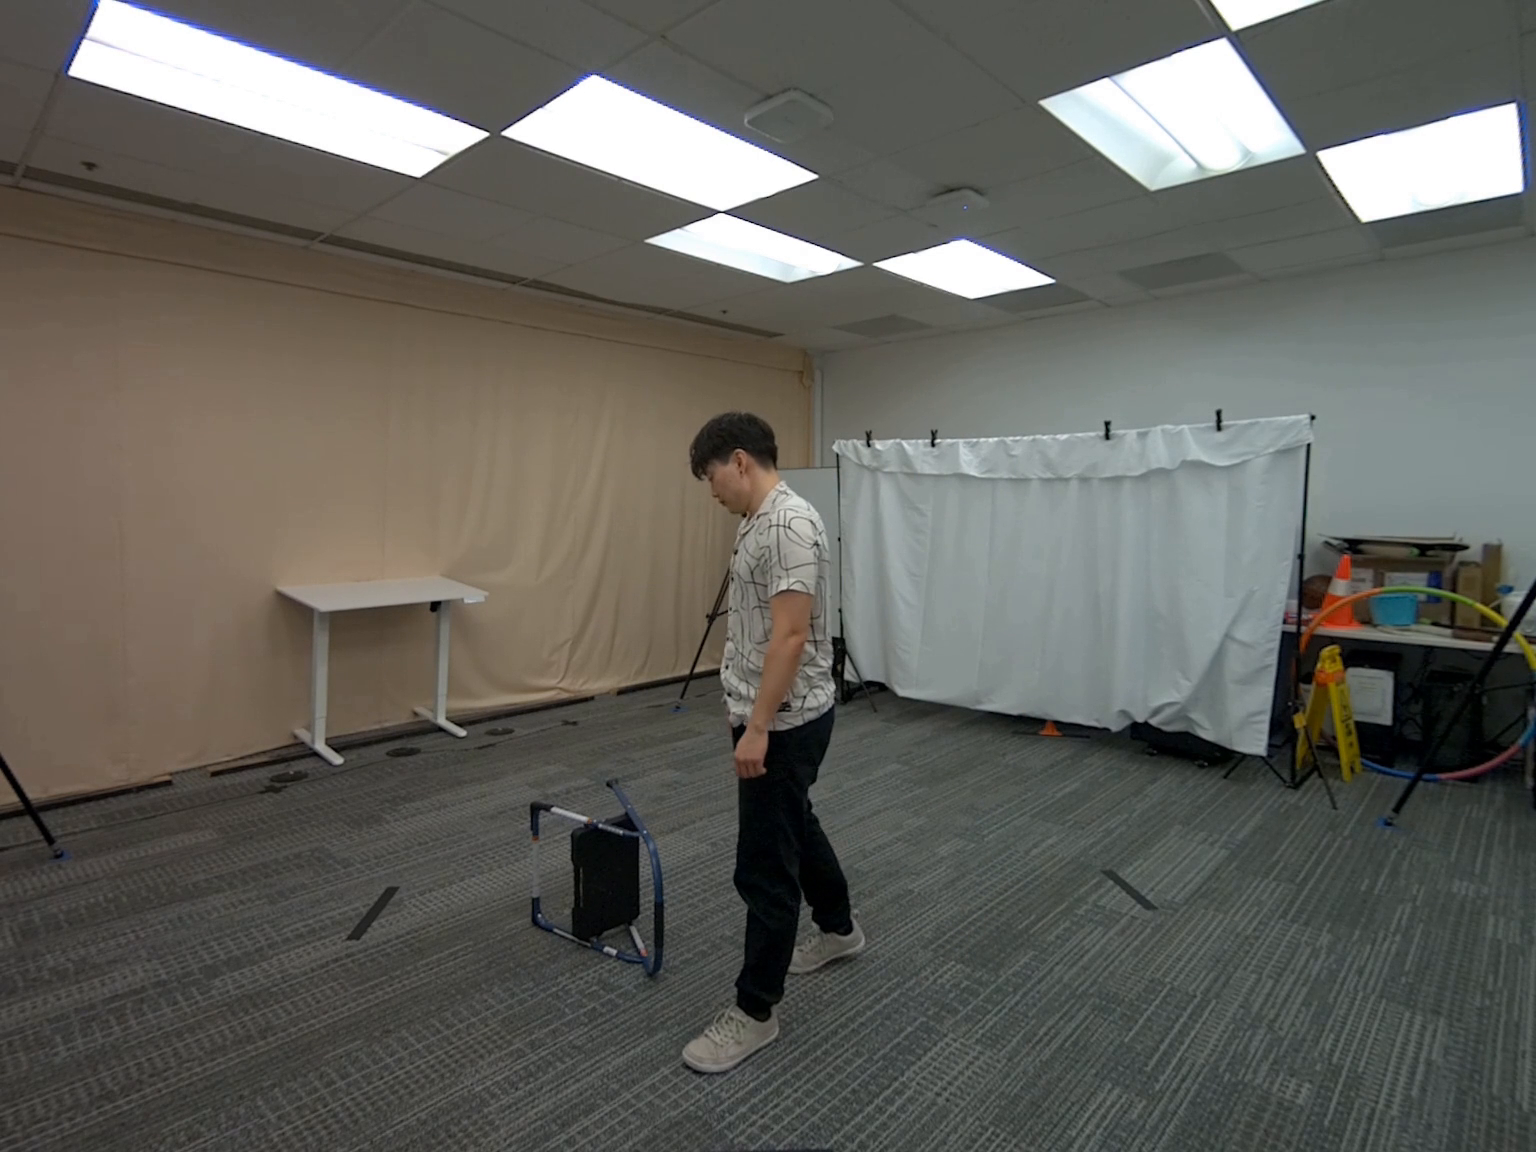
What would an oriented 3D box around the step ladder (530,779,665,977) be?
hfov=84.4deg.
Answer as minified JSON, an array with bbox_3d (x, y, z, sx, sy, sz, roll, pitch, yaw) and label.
[{"bbox_3d":[-0.459,0.964,2.675,0.339,0.429,0.626,-5,6,-42],"label":"step ladder"}]
